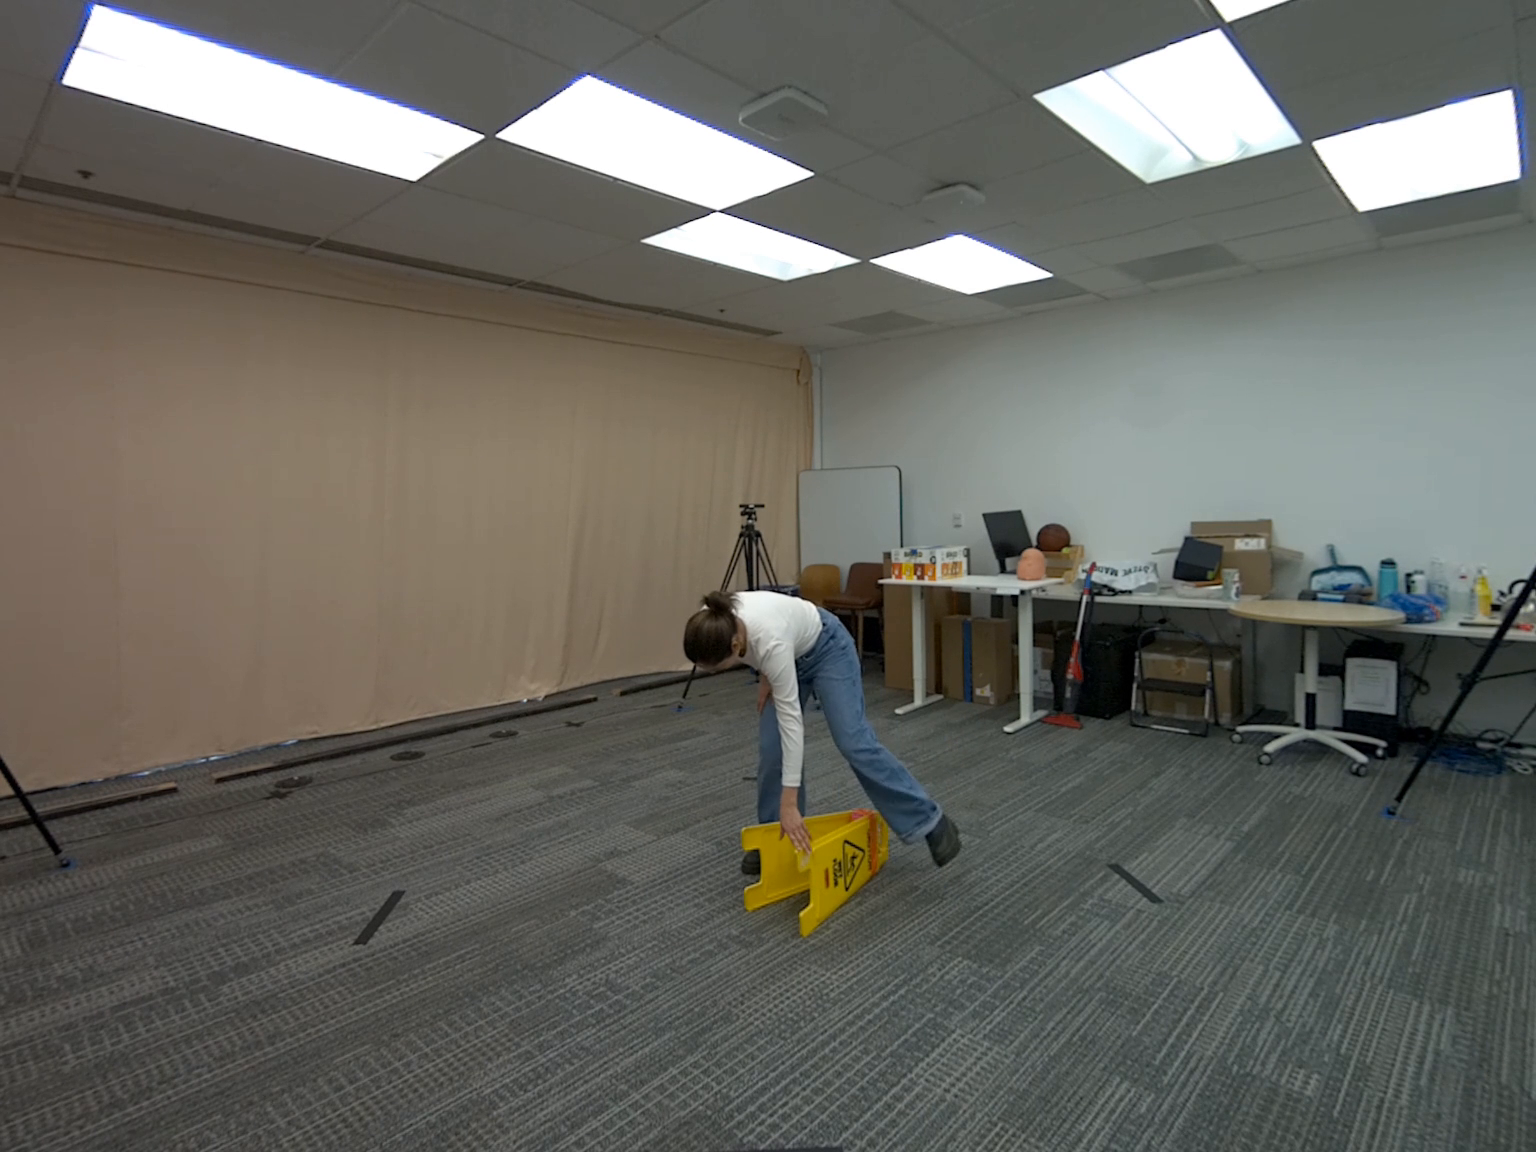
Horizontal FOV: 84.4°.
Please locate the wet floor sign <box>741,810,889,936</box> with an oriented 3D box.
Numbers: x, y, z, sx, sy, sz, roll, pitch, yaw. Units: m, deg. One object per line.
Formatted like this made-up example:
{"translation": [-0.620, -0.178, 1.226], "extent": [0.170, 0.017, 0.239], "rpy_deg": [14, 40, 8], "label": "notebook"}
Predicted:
{"translation": [0.233, 1.004, 3.016], "extent": [0.626, 0.282, 0.299], "rpy_deg": [-3, 4, -44], "label": "wet floor sign"}
